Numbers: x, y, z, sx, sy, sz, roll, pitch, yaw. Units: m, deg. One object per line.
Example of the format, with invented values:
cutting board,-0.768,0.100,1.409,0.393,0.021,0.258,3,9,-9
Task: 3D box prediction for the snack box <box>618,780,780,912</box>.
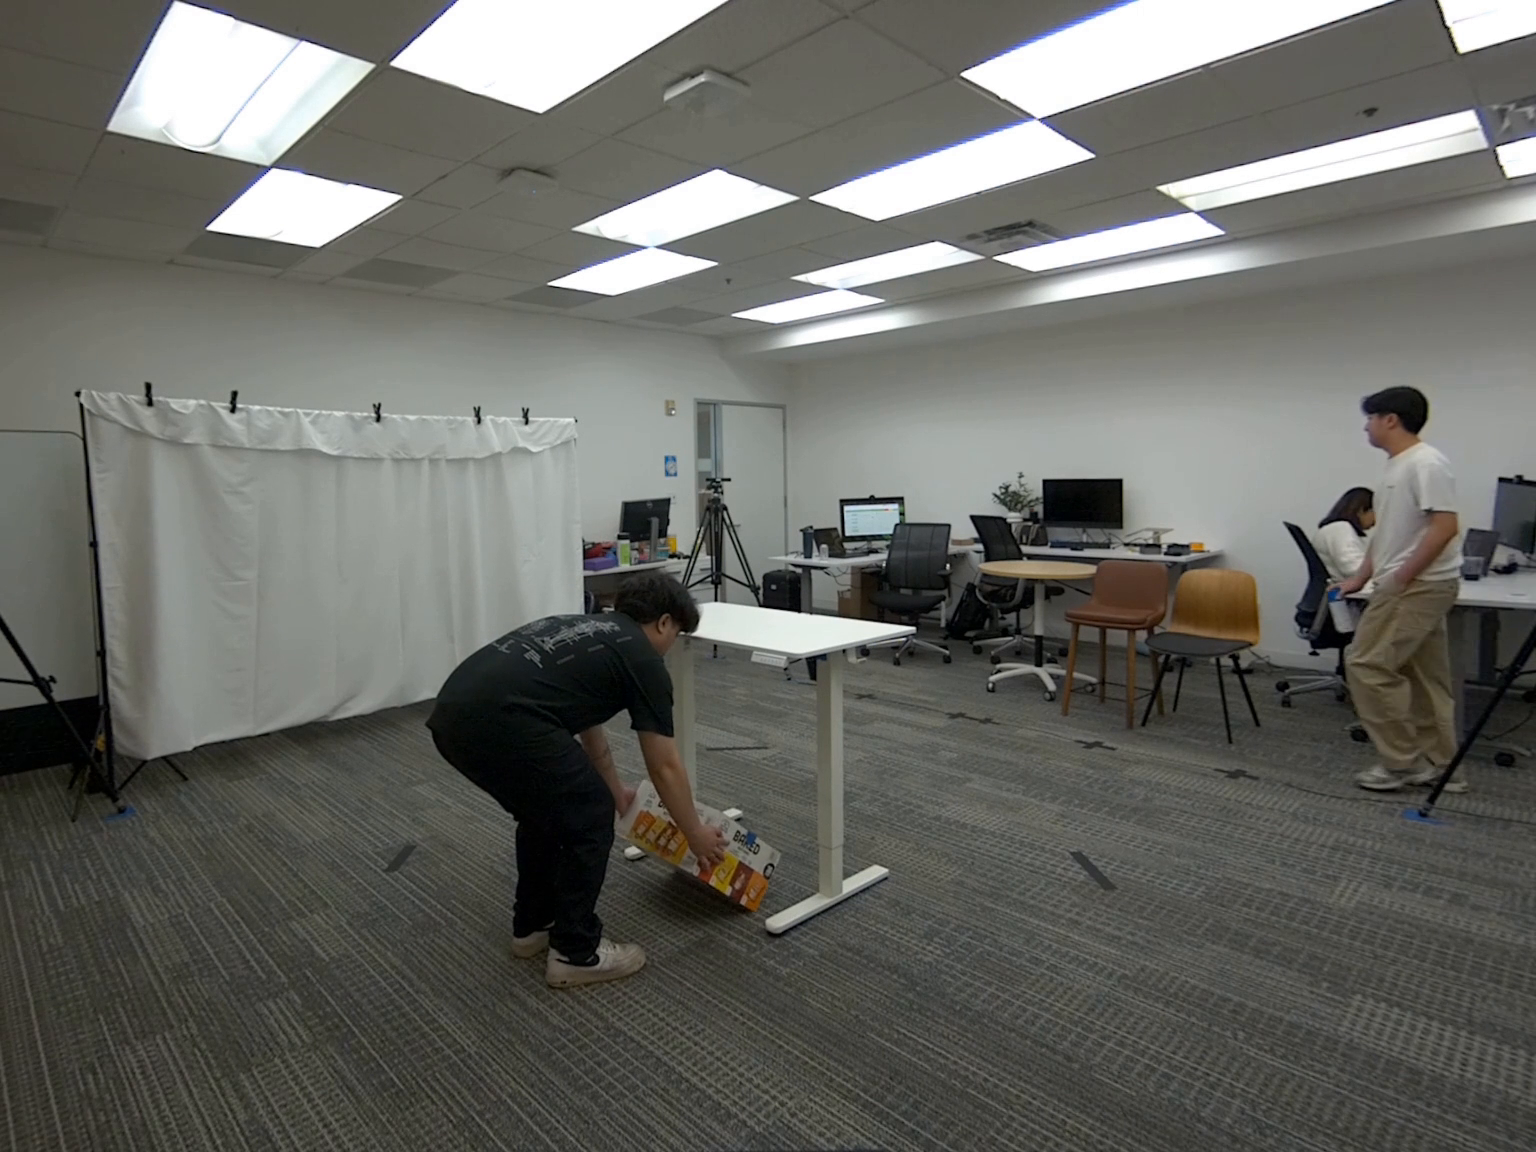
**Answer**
snack box,-0.236,0.895,2.844,0.418,0.207,0.328,5,-33,46
